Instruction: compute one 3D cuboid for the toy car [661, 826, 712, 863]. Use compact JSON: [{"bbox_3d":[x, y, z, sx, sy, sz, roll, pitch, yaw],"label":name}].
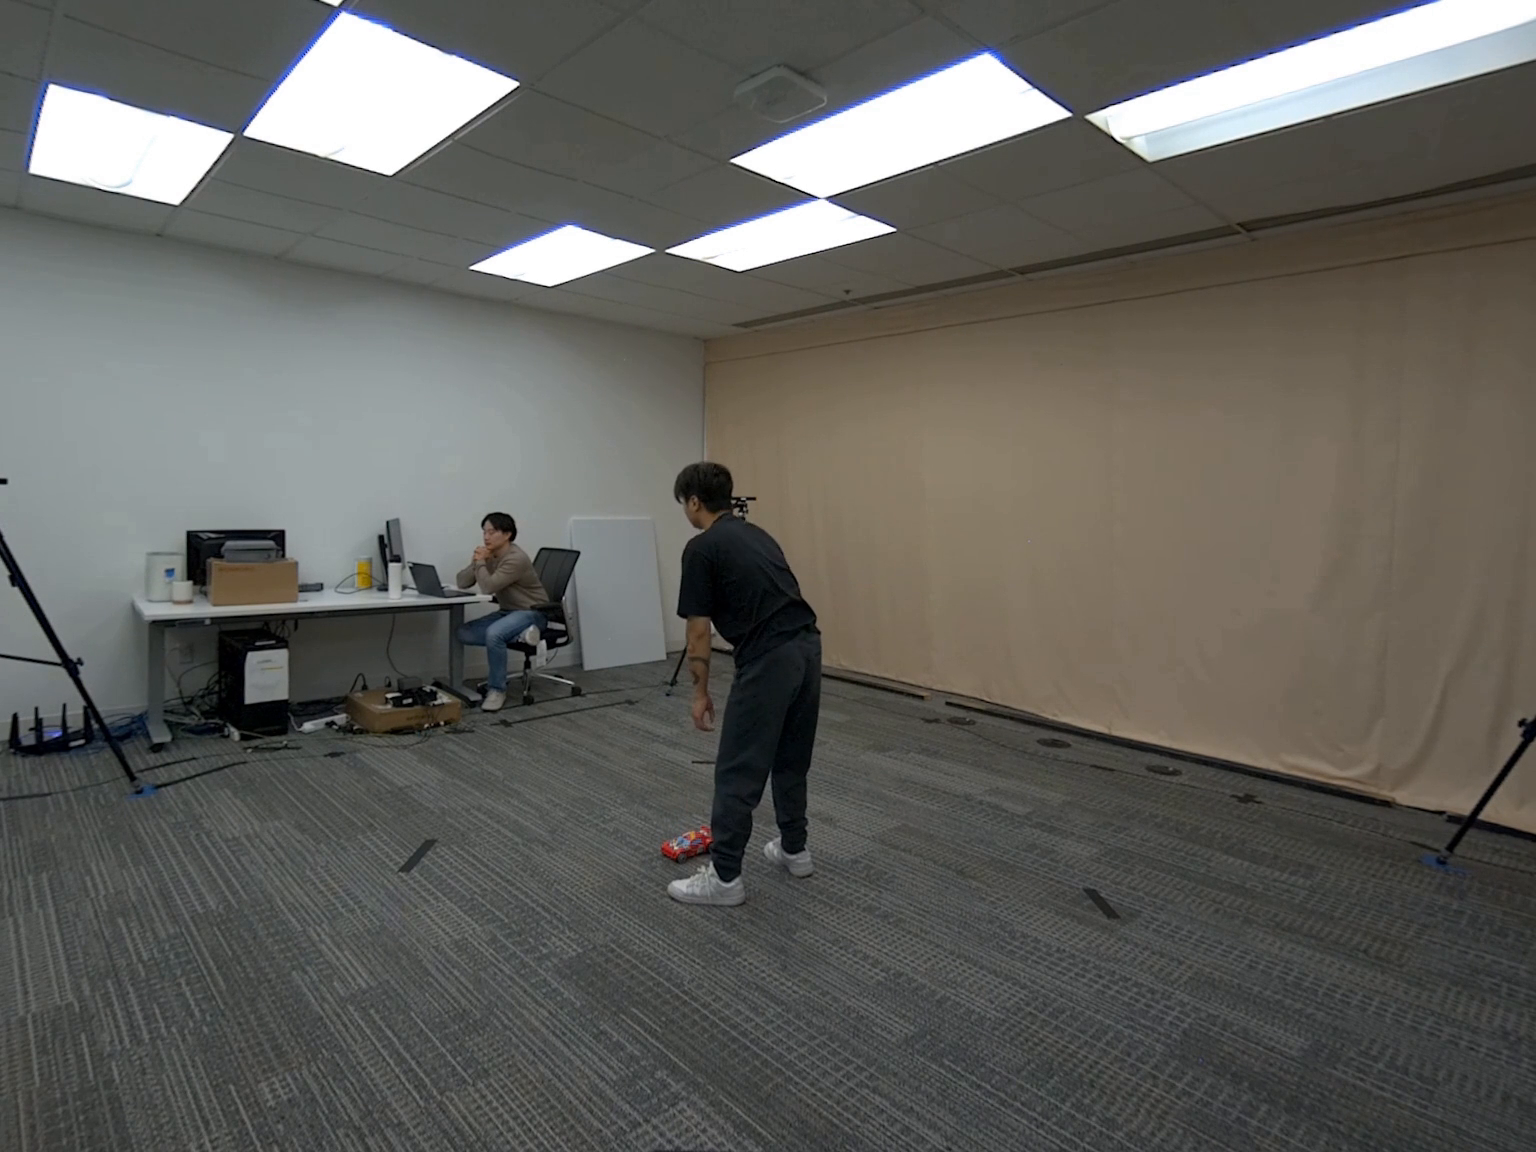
[{"bbox_3d":[-0.303,1.058,3.307,0.250,0.082,0.133,-17,15,-38],"label":"toy car"}]
